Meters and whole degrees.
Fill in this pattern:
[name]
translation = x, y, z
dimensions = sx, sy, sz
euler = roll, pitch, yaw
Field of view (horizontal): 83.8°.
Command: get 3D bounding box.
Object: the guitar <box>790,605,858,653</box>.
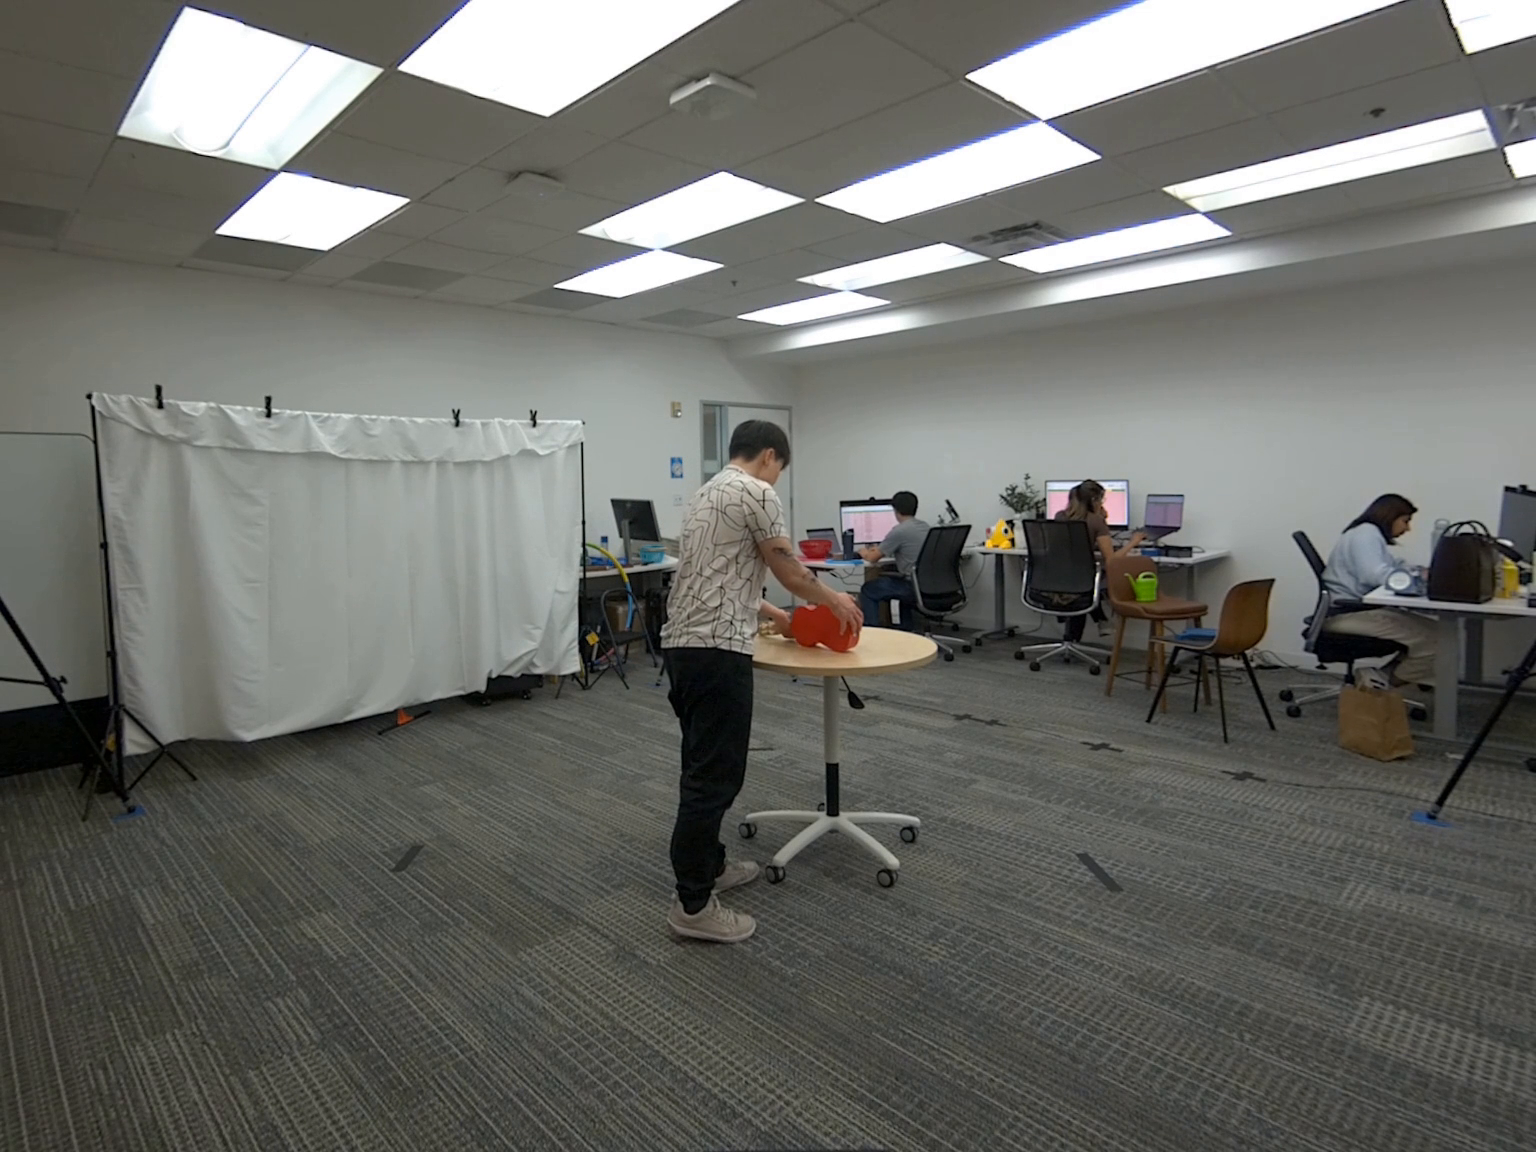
[guitar]
translation = 0.132, 0.210, 3.161
dimensions = 0.069, 0.194, 0.506
euler = -9, -8, -45
